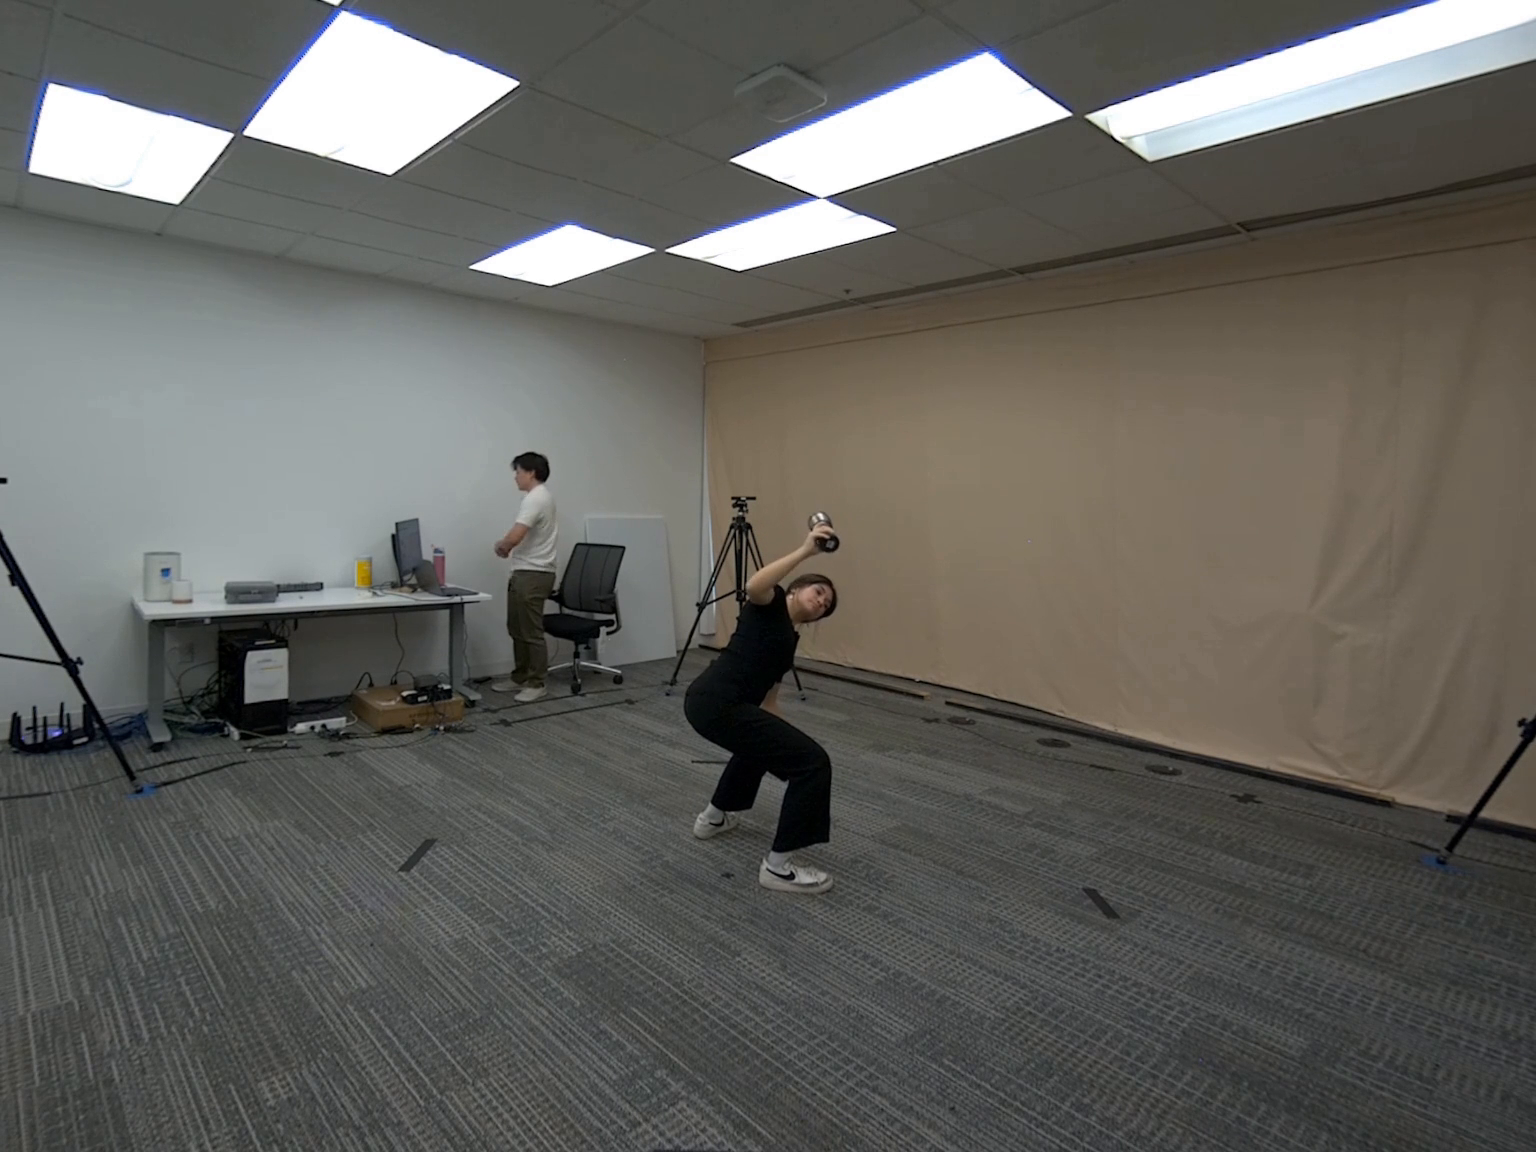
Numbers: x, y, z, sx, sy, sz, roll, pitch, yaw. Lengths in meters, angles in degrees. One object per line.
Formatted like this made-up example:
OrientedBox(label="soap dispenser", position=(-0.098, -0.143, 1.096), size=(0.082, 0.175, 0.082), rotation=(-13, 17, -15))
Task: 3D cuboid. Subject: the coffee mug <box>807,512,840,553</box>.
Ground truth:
OrientedBox(label="coffee mug", position=(0.217, -0.153, 3.144), size=(0.088, 0.119, 0.207), rotation=(-39, 22, 6))
